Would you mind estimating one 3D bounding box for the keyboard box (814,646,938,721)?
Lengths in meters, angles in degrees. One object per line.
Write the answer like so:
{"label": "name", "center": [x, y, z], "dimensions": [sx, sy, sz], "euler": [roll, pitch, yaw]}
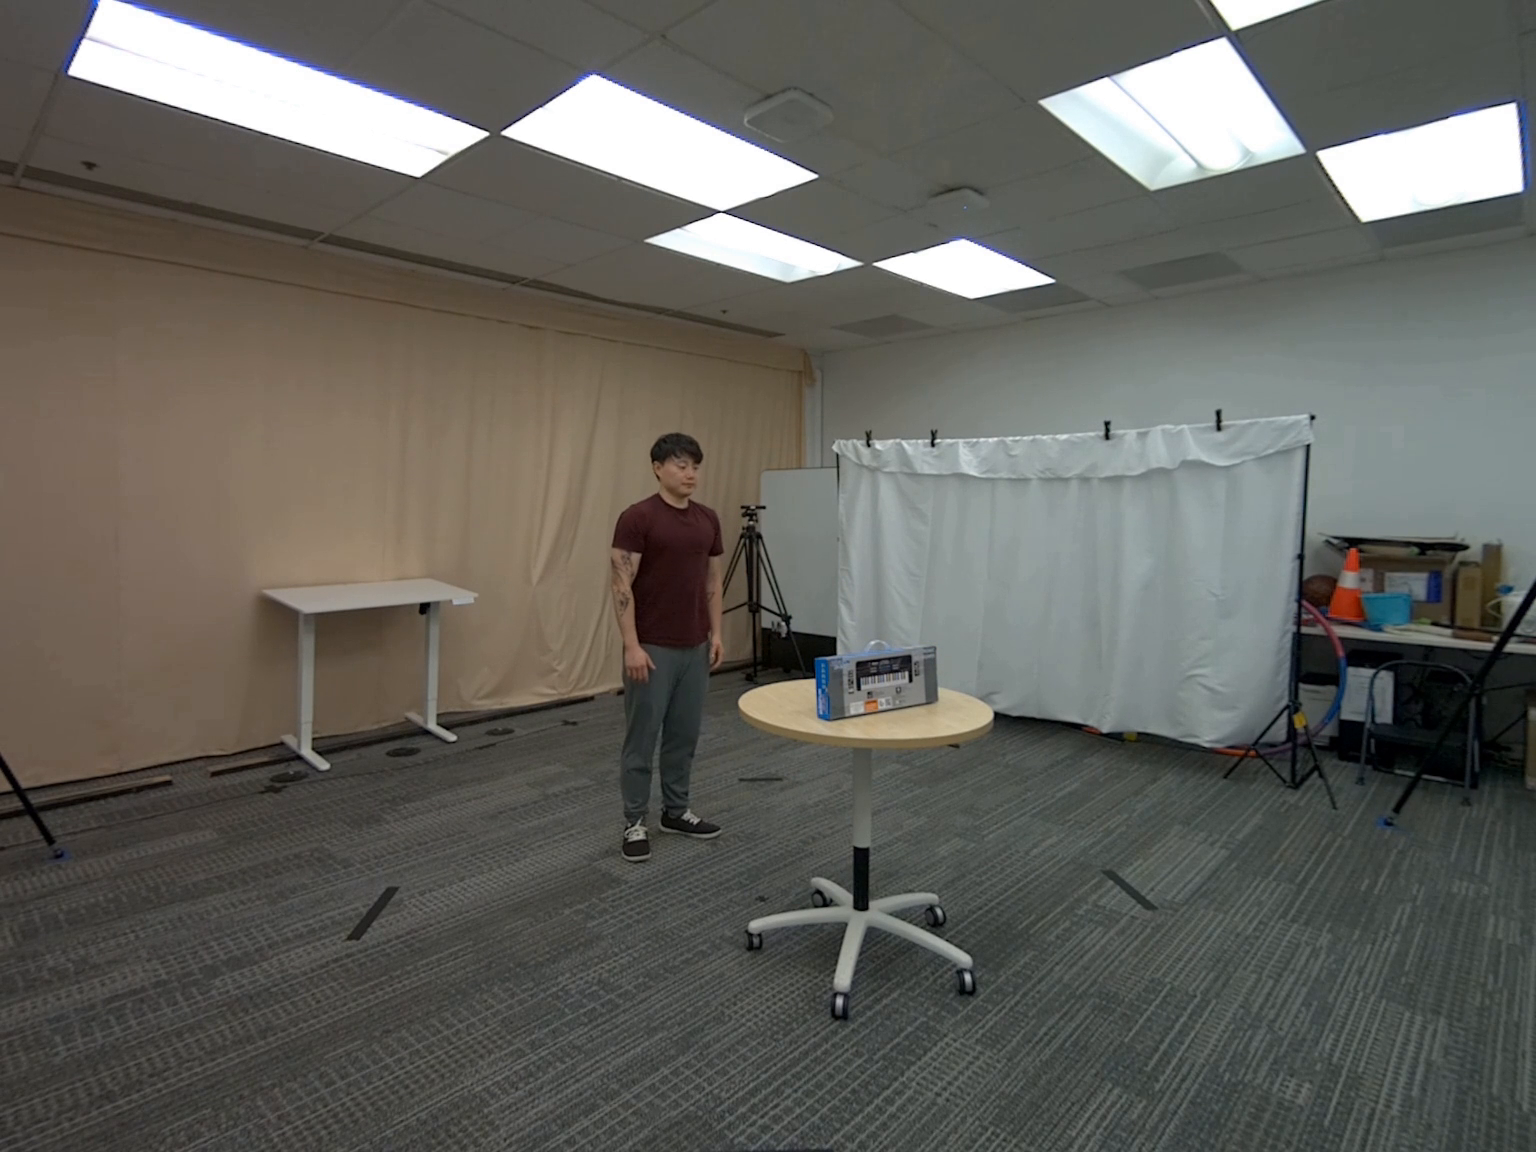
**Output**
{"label": "keyboard box", "center": [0.337, 0.318, 2.507], "dimensions": [0.424, 0.176, 0.061], "euler": [-2, 0, -33]}
